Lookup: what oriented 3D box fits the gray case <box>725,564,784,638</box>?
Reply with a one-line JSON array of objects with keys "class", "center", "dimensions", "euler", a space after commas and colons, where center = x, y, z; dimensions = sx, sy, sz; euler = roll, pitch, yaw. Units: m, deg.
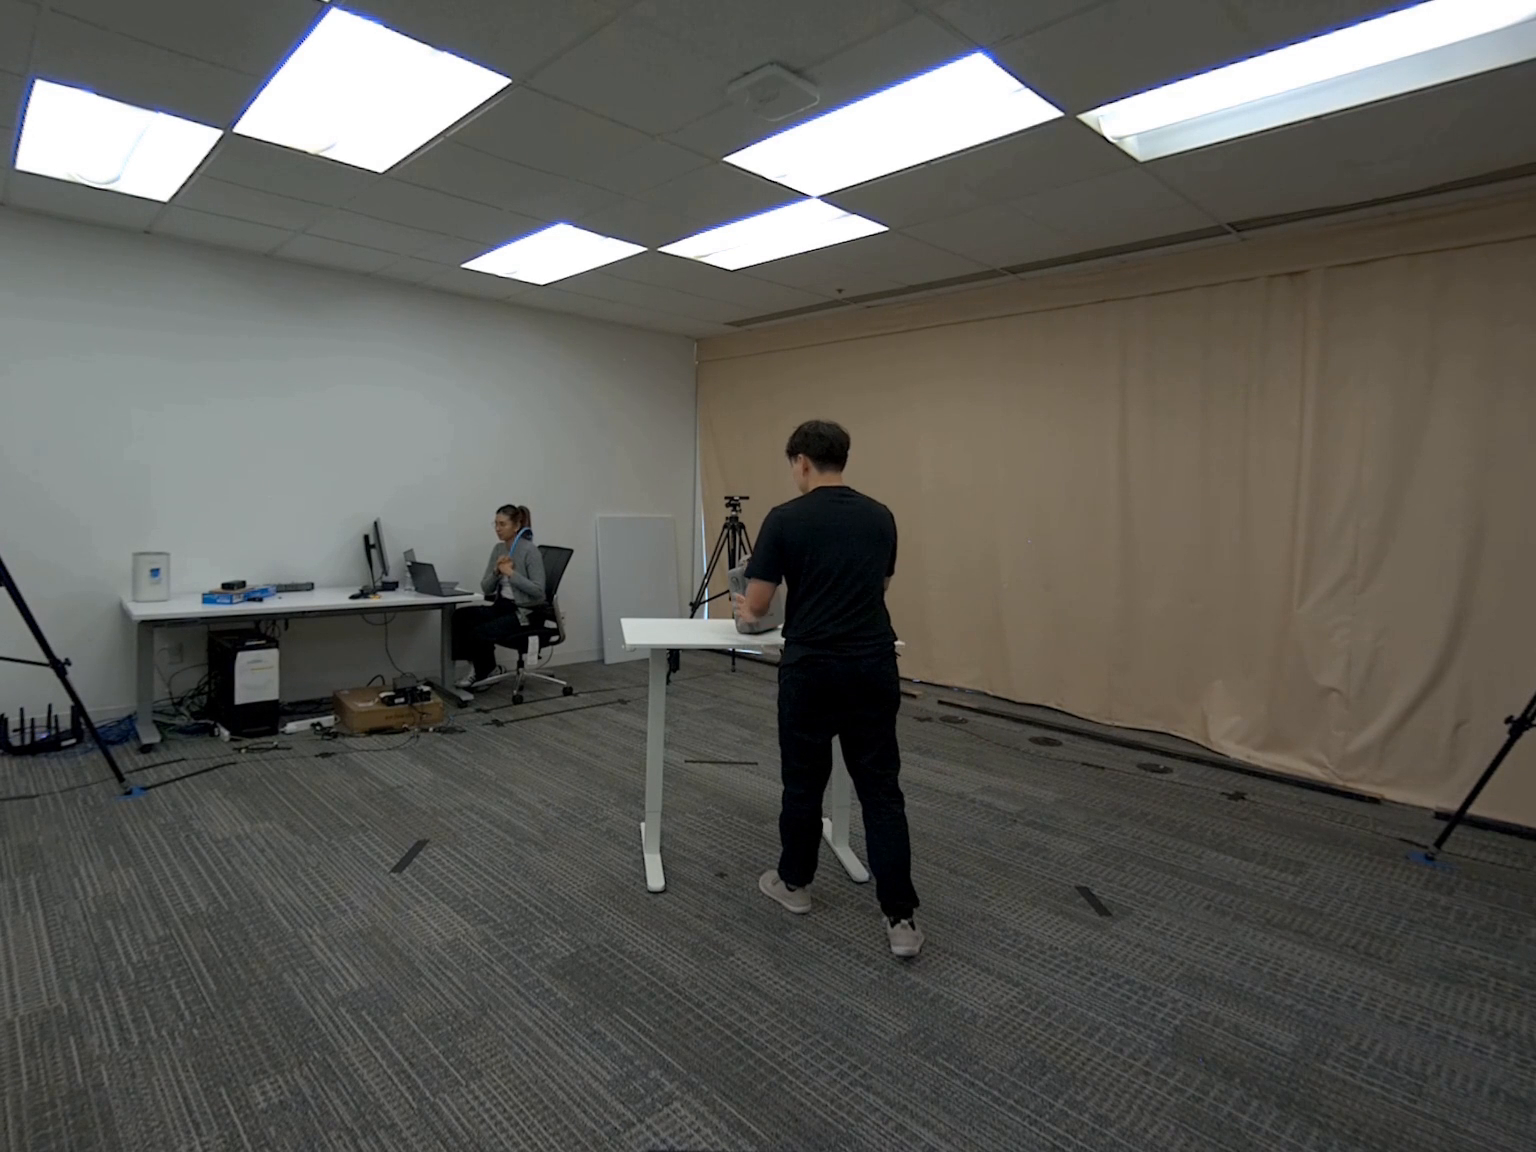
[{"class": "gray case", "center": [-0.046, 0.083, 3.240], "dimensions": [0.106, 0.261, 0.252], "euler": [-10, -3, 22]}]
